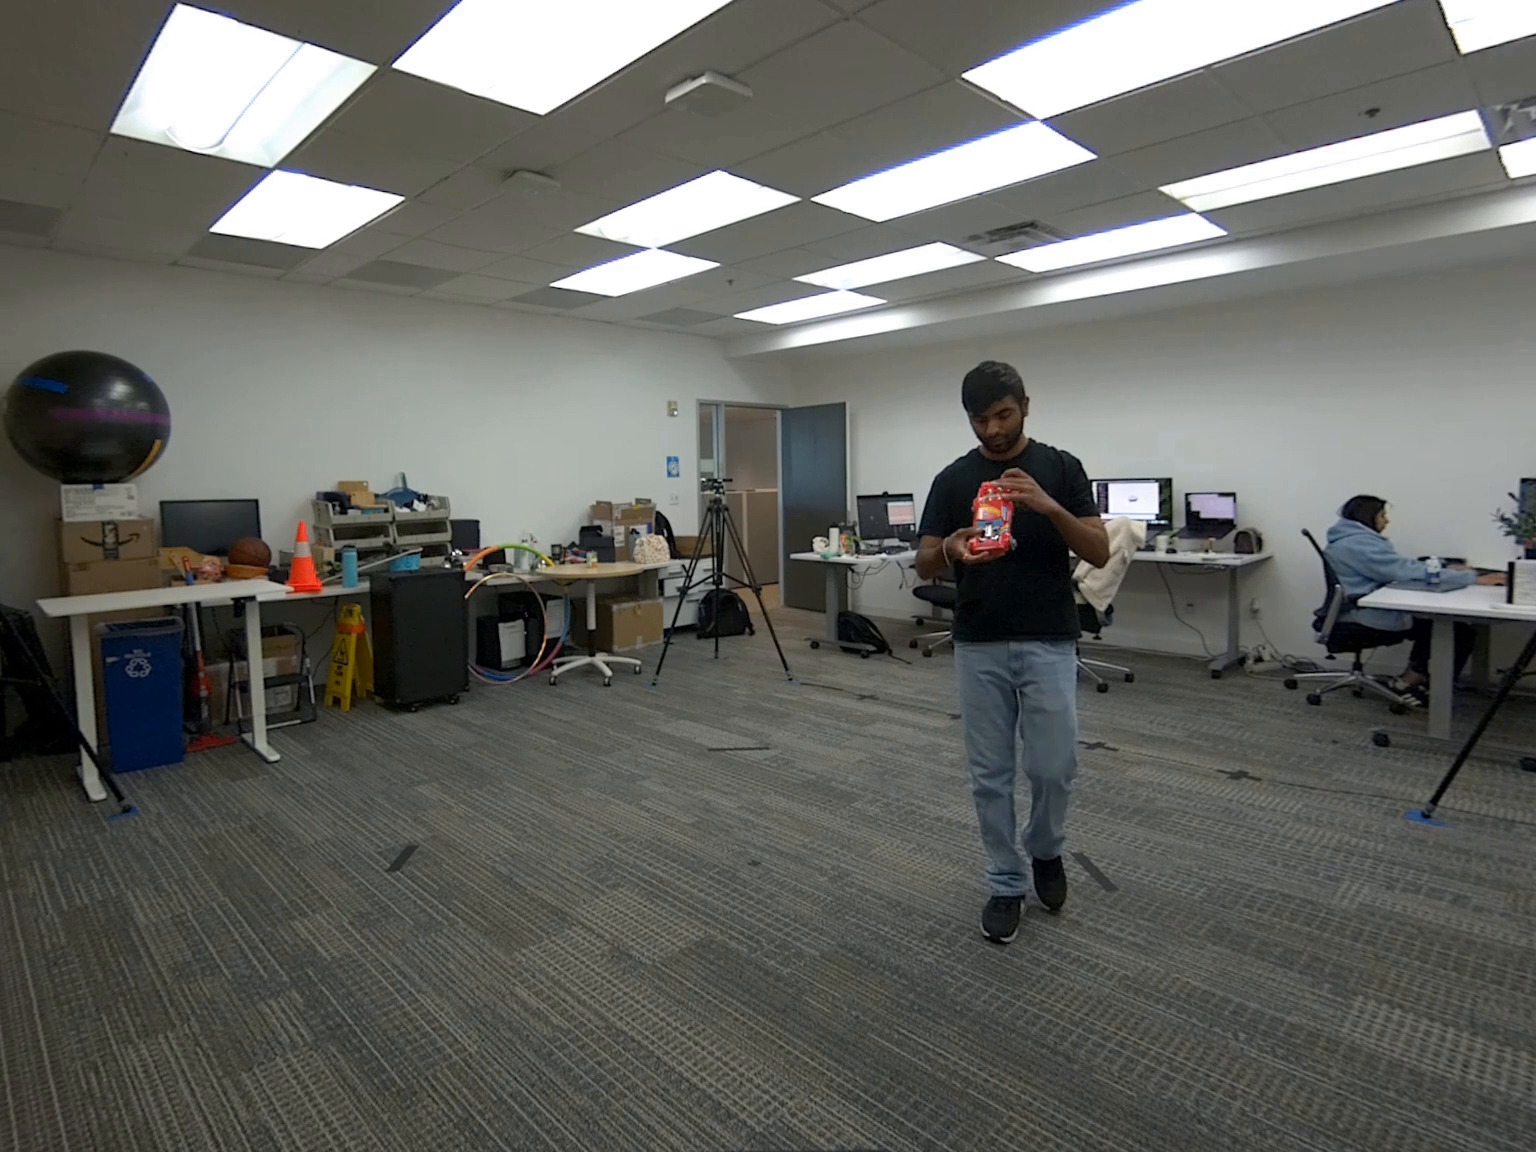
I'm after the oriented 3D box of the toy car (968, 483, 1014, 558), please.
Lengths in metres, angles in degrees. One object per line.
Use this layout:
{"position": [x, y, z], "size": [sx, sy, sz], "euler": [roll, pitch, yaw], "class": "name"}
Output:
{"position": [0.635, -0.163, 2.368], "size": [0.133, 0.259, 0.080], "euler": [-10, -34, 31], "class": "toy car"}
